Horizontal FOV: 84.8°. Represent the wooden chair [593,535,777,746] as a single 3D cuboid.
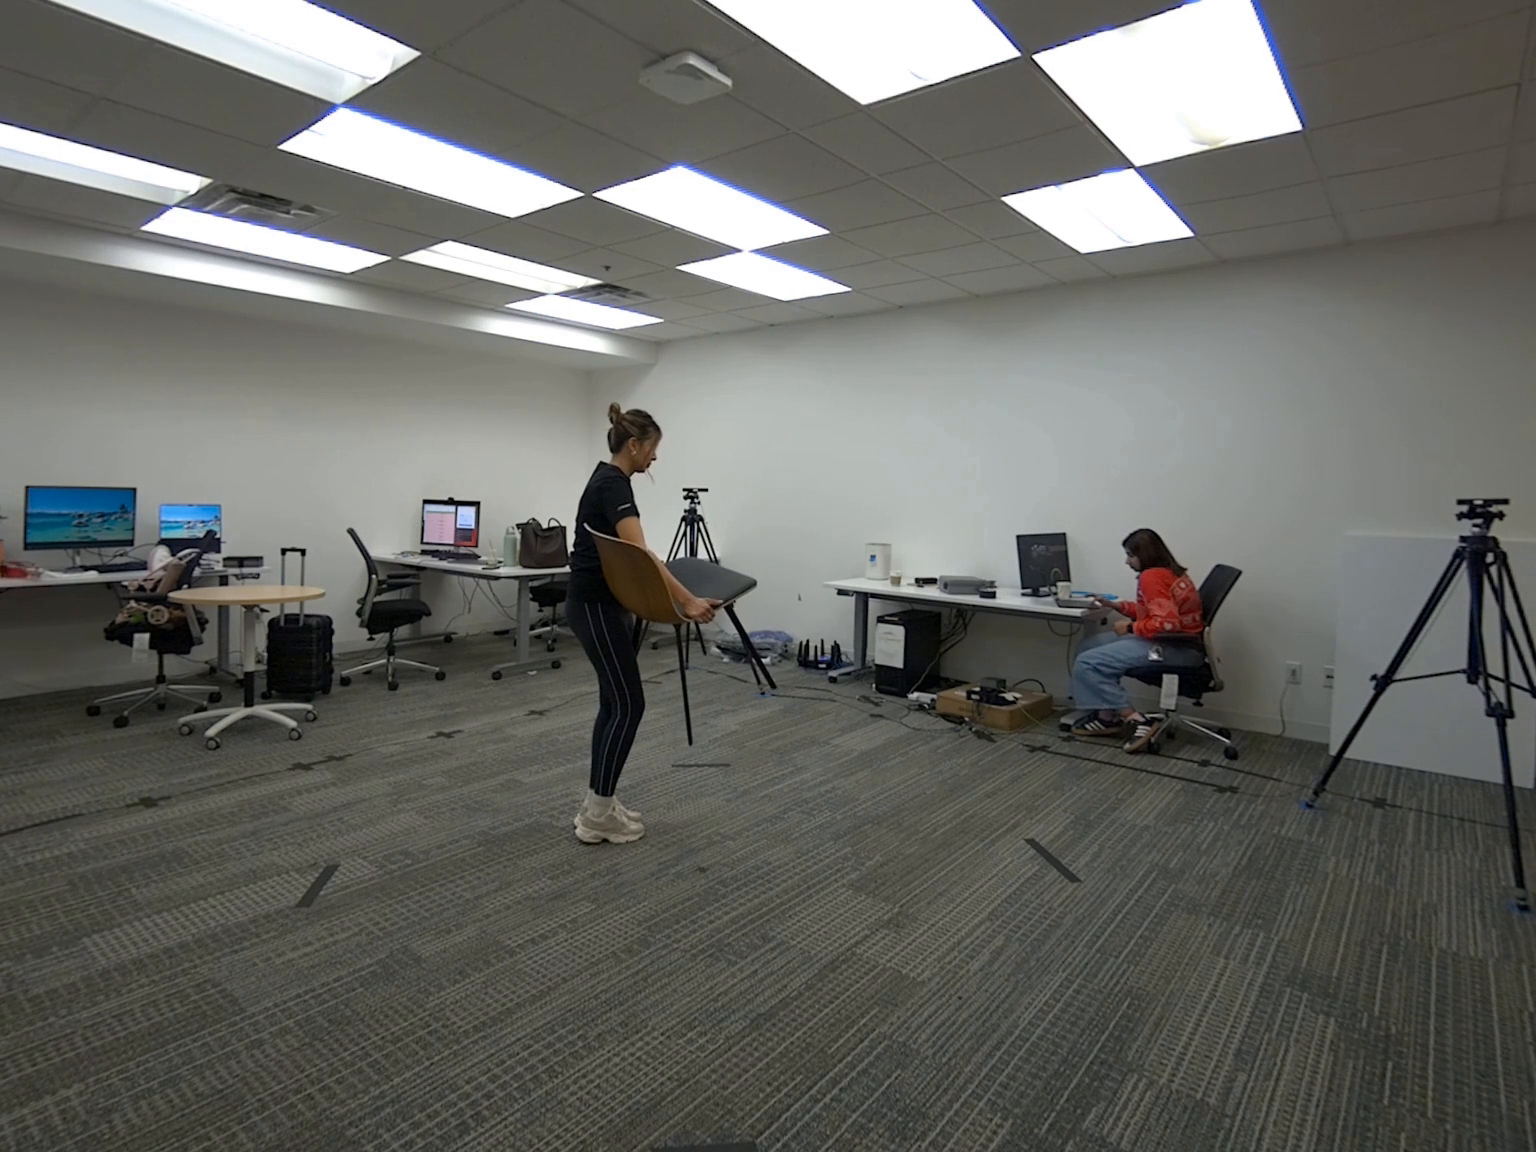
[{"bbox_3d":[-0.340,0.103,3.270,0.517,0.854,0.497,-31,30,-32],"label":"wooden chair"}]
